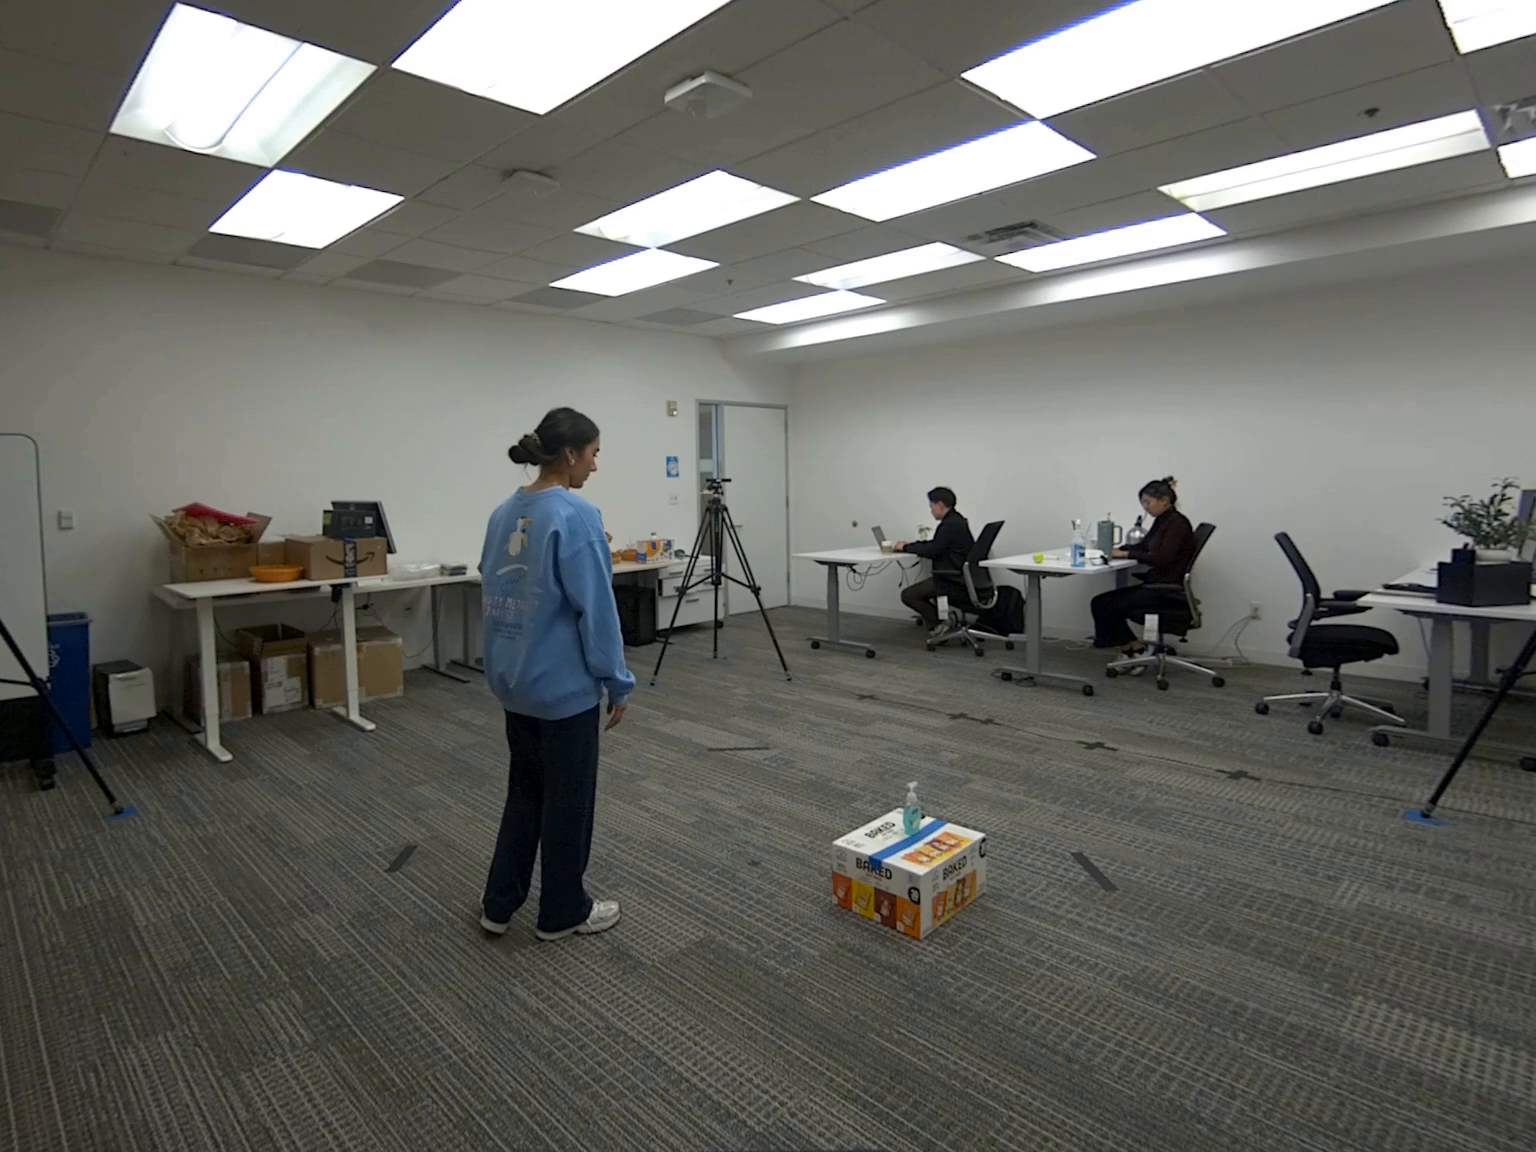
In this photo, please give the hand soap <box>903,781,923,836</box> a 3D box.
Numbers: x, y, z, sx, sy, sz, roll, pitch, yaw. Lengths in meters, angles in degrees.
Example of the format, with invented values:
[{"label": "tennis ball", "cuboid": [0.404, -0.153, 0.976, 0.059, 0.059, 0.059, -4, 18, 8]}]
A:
[{"label": "hand soap", "cuboid": [0.486, 0.777, 2.883, 0.045, 0.167, 0.082, 2, 9, 40]}]
